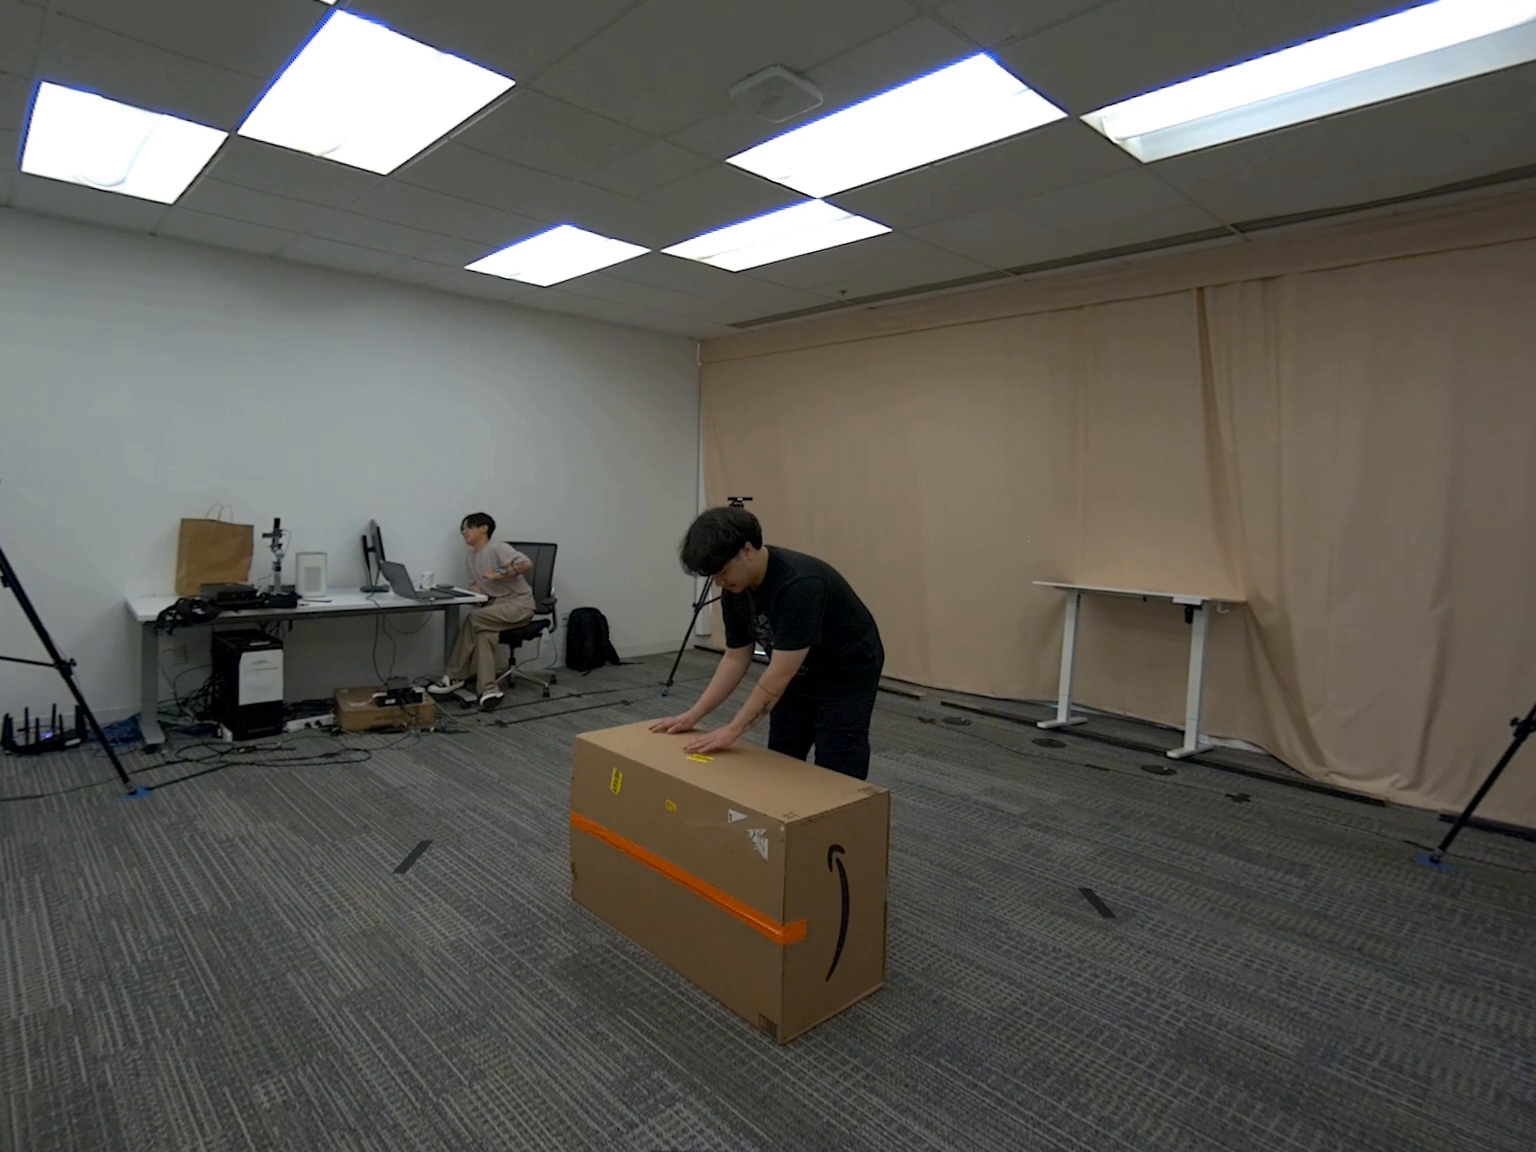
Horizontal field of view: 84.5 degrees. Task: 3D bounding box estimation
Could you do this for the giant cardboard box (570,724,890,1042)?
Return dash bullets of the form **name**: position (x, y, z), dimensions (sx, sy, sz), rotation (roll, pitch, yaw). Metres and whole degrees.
- **giant cardboard box**: position (-0.173, 0.864, 2.641), dimensions (0.437, 0.582, 1.053), rotation (-3, 6, -43)
